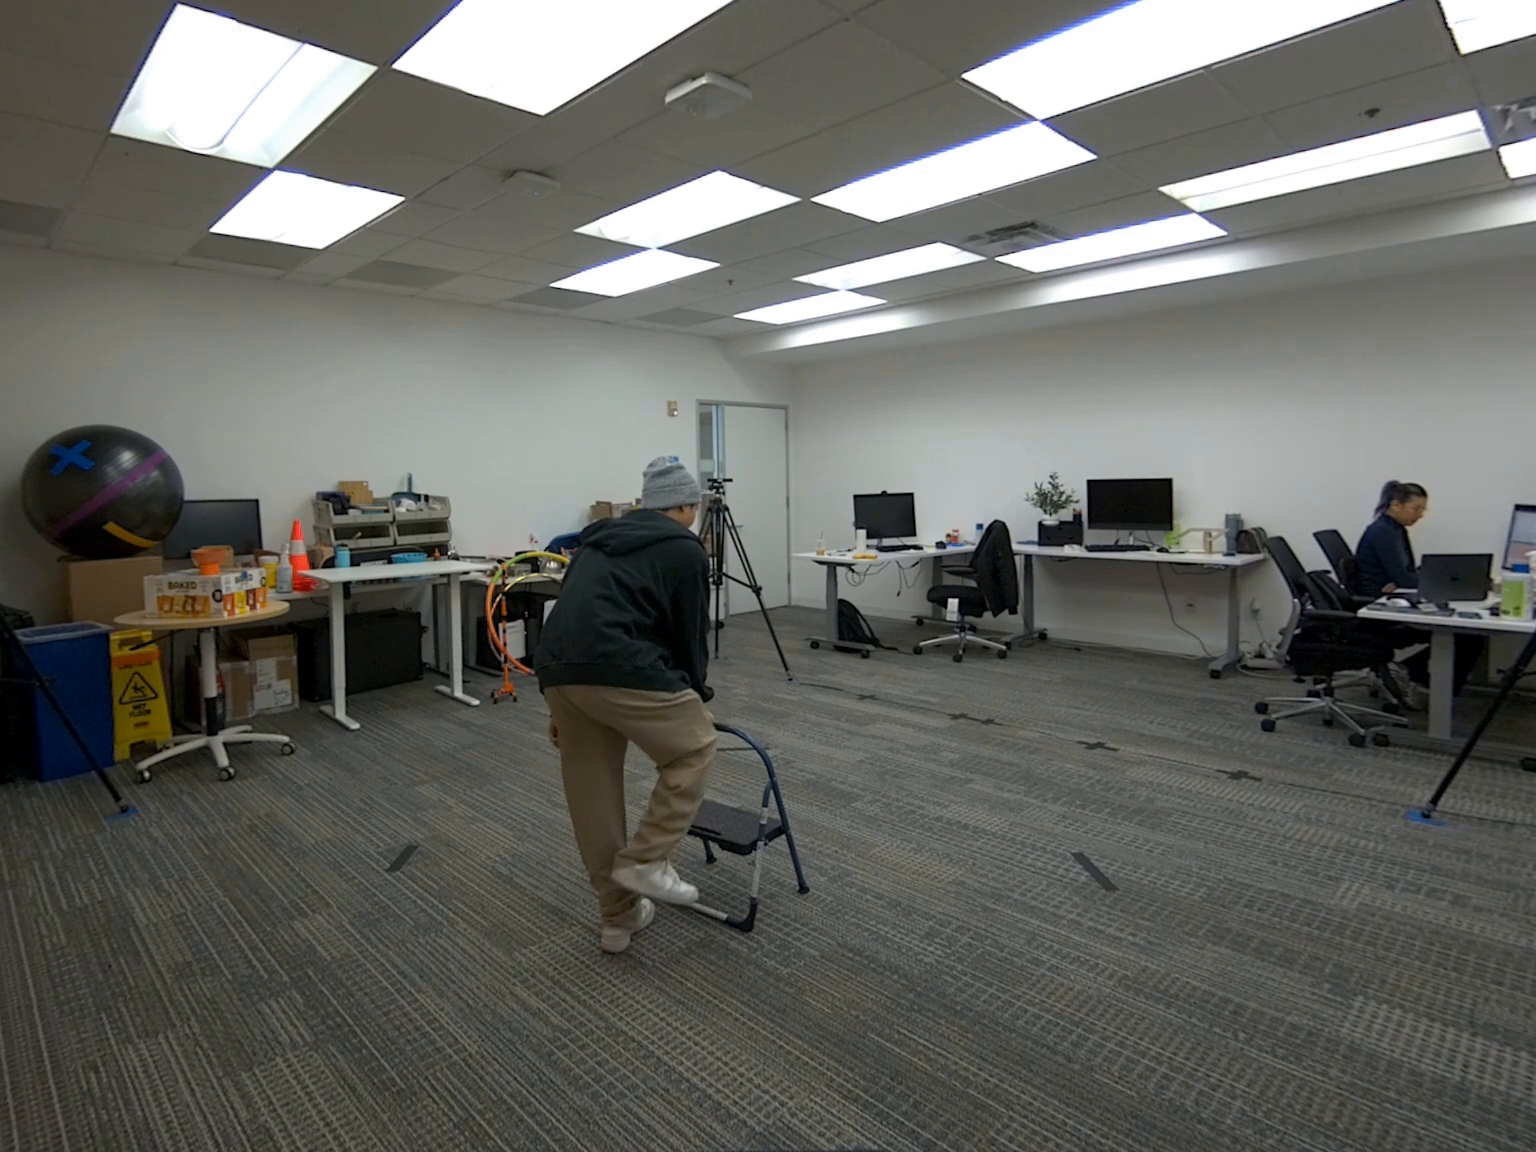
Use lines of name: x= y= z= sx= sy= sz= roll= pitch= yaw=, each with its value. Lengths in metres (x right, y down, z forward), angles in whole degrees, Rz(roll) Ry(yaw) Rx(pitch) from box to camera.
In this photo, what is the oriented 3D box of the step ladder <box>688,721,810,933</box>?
step ladder: x=-0.132 y=0.770 z=2.867 sx=0.443 sy=0.604 sz=0.340 roll=2 pitch=5 yaw=36
